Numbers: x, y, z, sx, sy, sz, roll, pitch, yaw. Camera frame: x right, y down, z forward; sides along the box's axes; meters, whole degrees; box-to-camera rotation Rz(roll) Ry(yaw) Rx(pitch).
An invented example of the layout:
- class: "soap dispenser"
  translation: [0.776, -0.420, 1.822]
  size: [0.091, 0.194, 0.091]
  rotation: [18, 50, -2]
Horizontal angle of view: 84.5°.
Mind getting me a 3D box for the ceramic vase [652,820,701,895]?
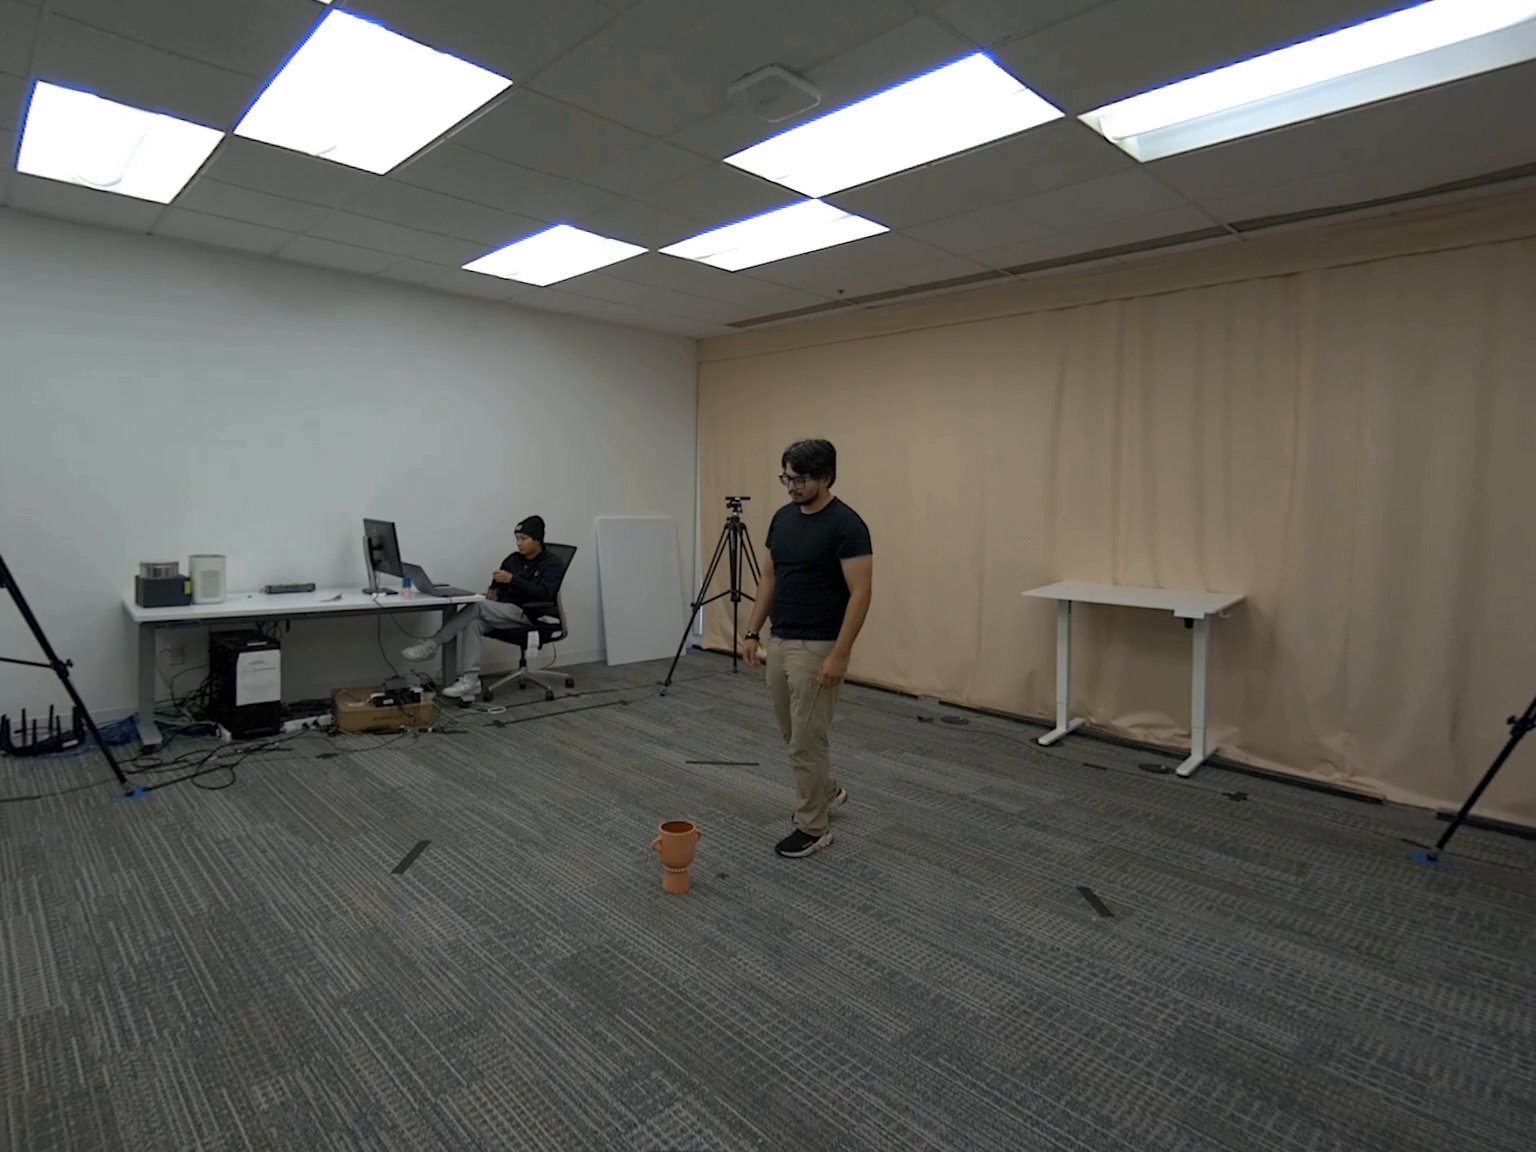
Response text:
- class: "ceramic vase"
  translation: [-0.337, 0.999, 2.994]
  size: [0.159, 0.219, 0.134]
  rotation: [2, 5, 5]
